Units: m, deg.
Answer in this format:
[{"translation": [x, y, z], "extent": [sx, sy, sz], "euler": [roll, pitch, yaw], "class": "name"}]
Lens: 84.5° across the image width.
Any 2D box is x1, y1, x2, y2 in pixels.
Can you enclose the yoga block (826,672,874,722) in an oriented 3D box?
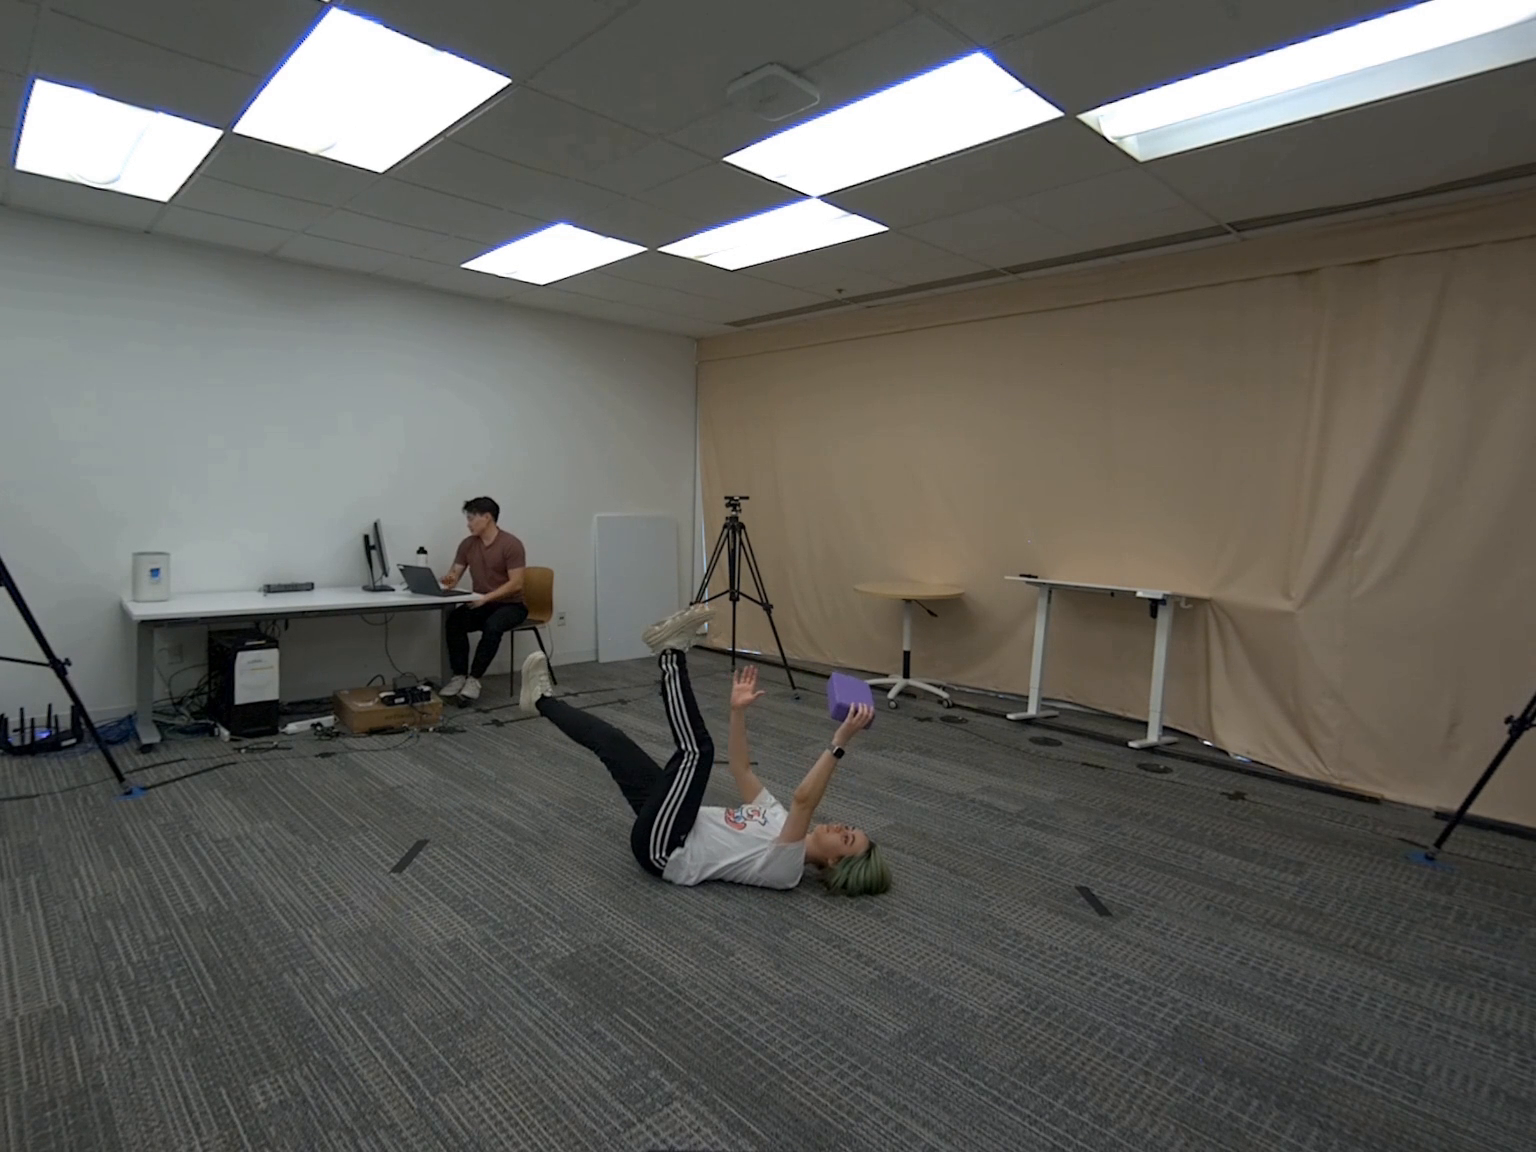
[{"translation": [0.291, 0.446, 3.036], "extent": [0.148, 0.076, 0.233], "euler": [17, 21, -10], "class": "yoga block"}]
